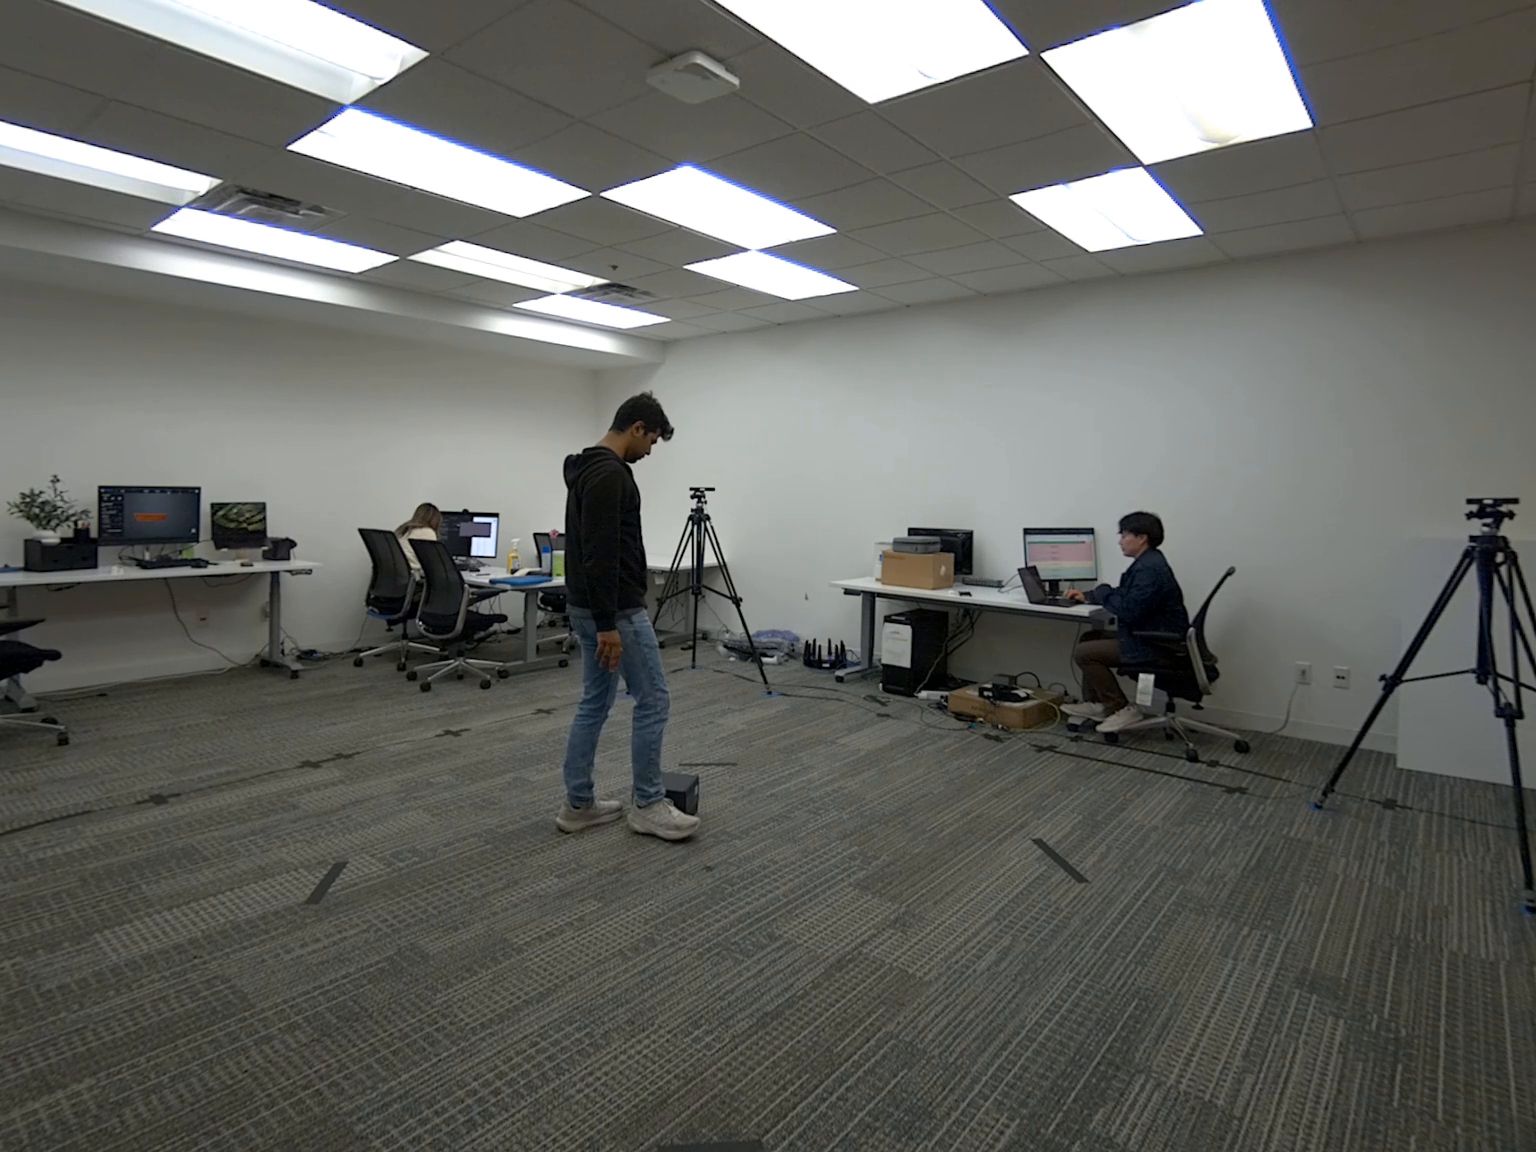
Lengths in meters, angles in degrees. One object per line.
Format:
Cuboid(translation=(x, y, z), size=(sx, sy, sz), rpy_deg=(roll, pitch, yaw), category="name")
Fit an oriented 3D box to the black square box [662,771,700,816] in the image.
Cuboid(translation=(-0.439, 0.938, 3.587), size=(0.231, 0.155, 0.215), rpy_deg=(2, 5, 11), category="black square box")
